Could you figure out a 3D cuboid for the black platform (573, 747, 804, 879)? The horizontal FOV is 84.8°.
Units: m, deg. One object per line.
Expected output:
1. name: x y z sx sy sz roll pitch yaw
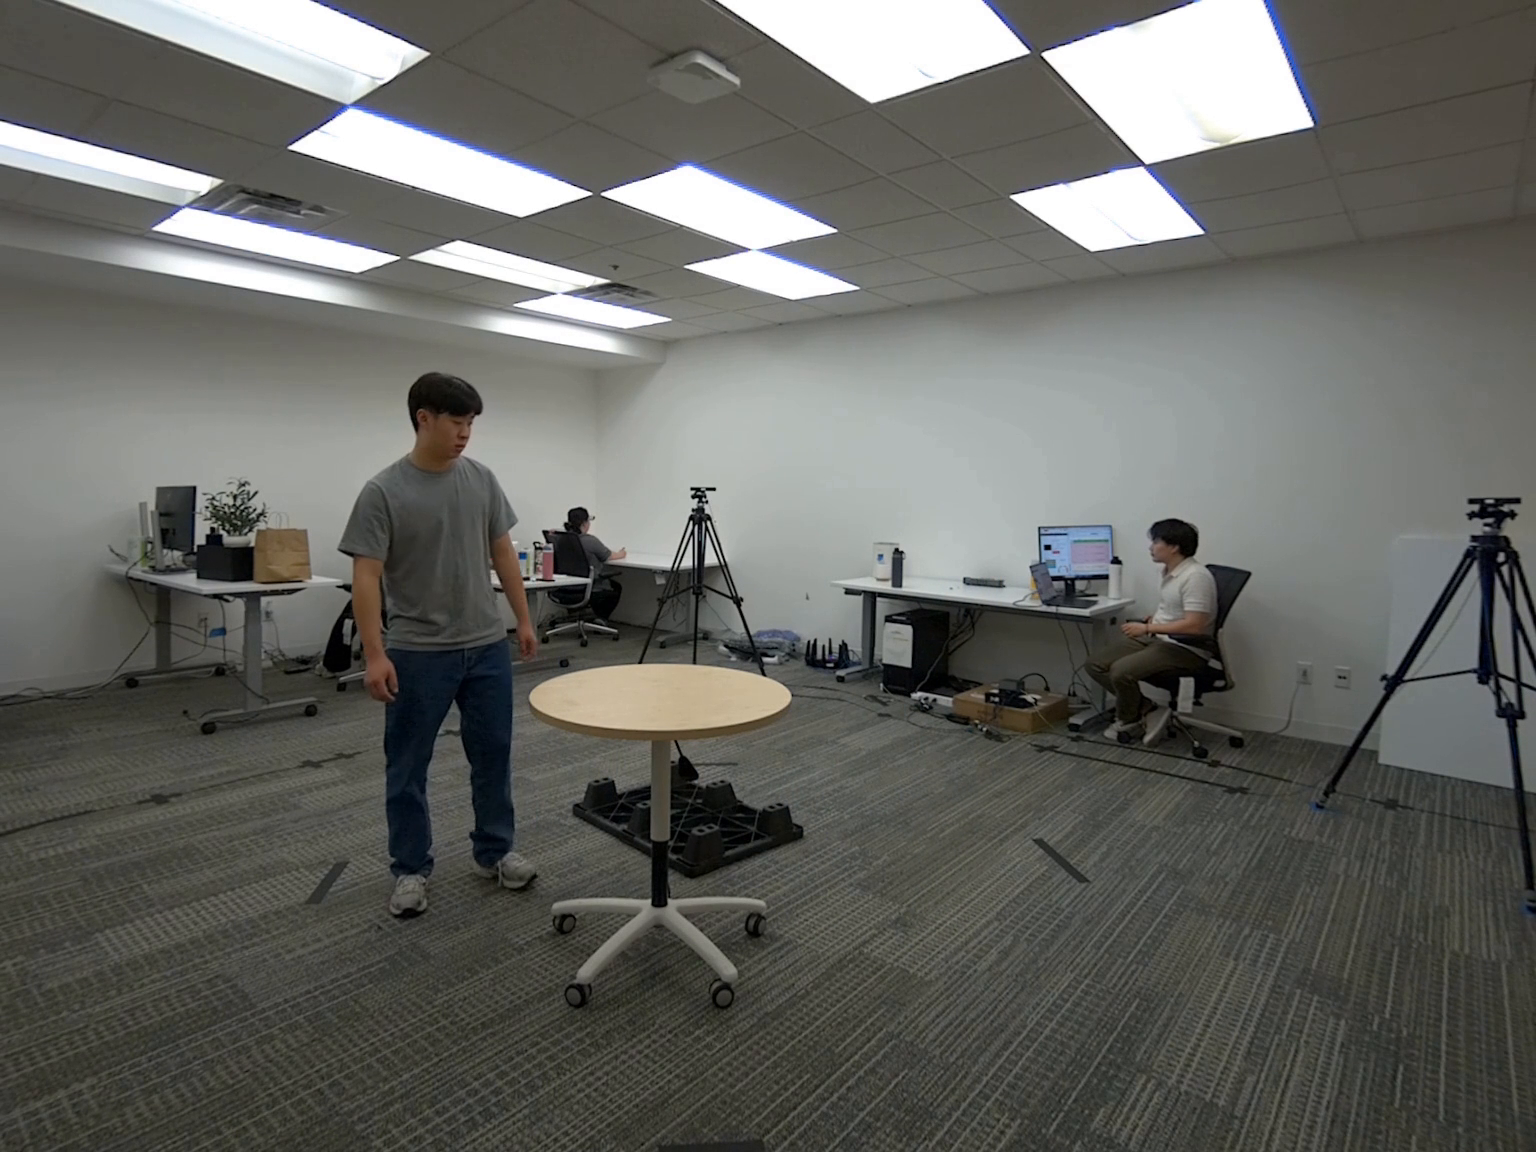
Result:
1. black platform: -0.357 0.958 3.504 0.587 0.143 0.833 -4 7 -44
